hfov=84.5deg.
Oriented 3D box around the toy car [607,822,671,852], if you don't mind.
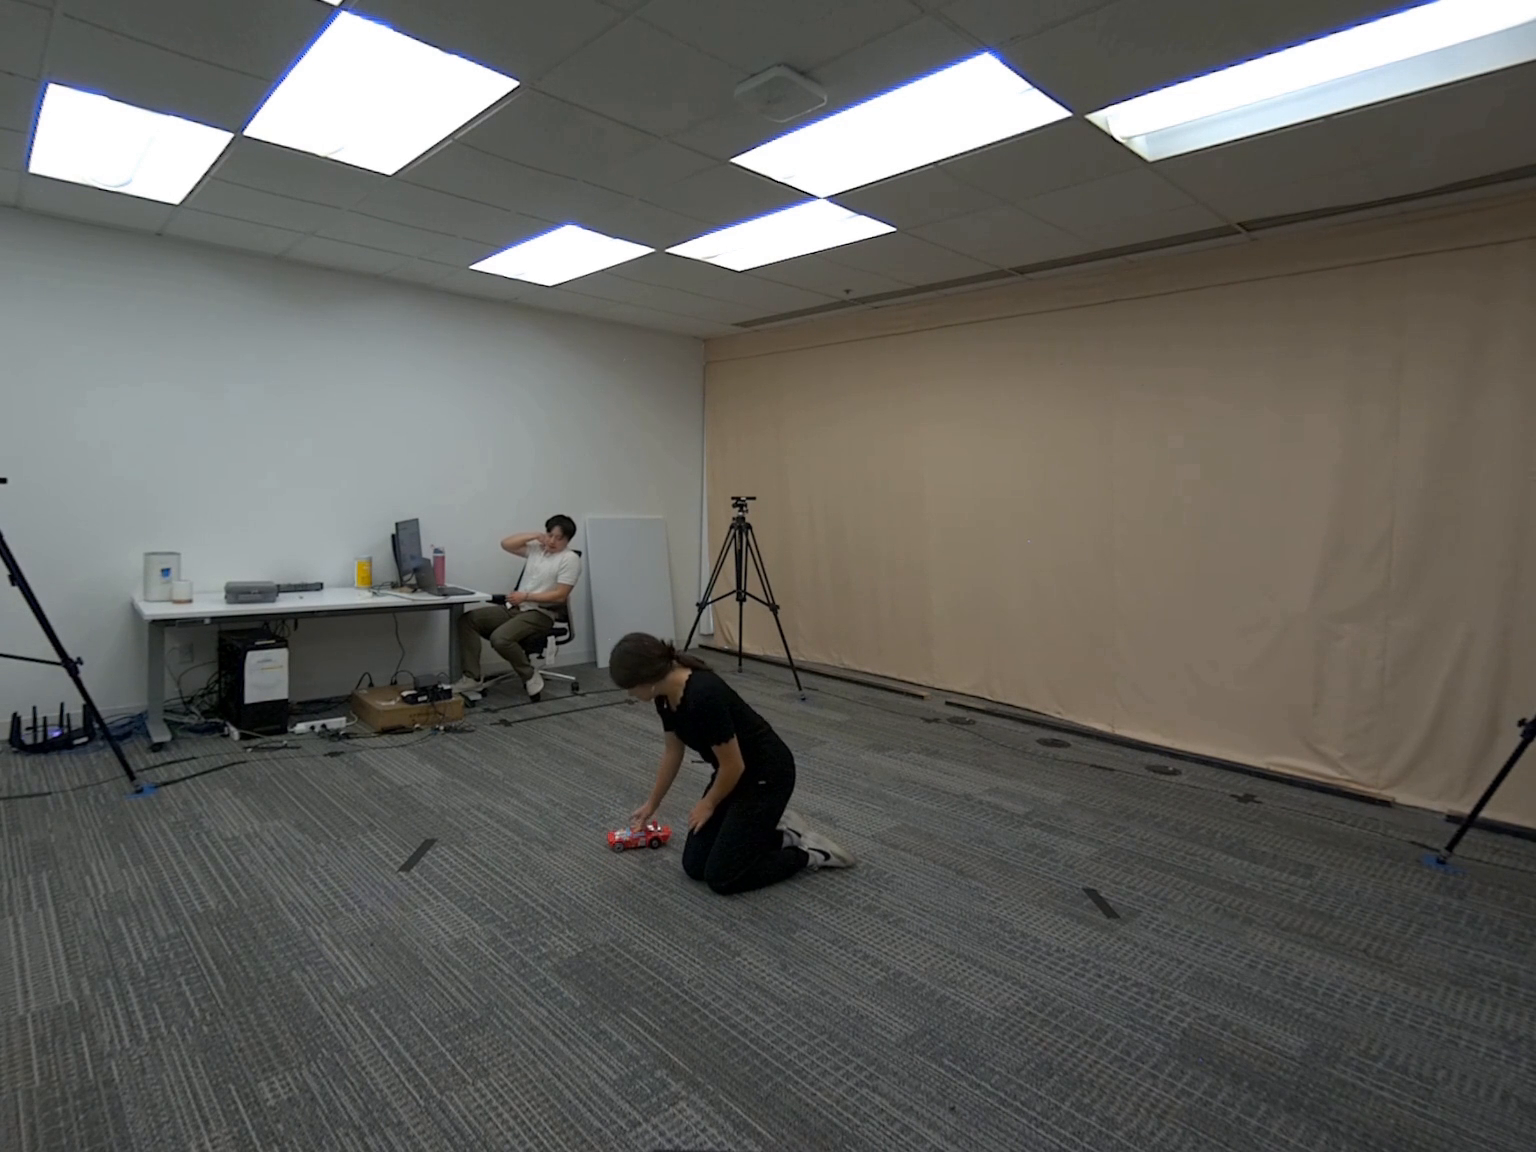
[{"bbox_3d":[-0.517,1.041,3.360,0.252,0.083,0.132,-11,8,-16],"label":"toy car"}]
